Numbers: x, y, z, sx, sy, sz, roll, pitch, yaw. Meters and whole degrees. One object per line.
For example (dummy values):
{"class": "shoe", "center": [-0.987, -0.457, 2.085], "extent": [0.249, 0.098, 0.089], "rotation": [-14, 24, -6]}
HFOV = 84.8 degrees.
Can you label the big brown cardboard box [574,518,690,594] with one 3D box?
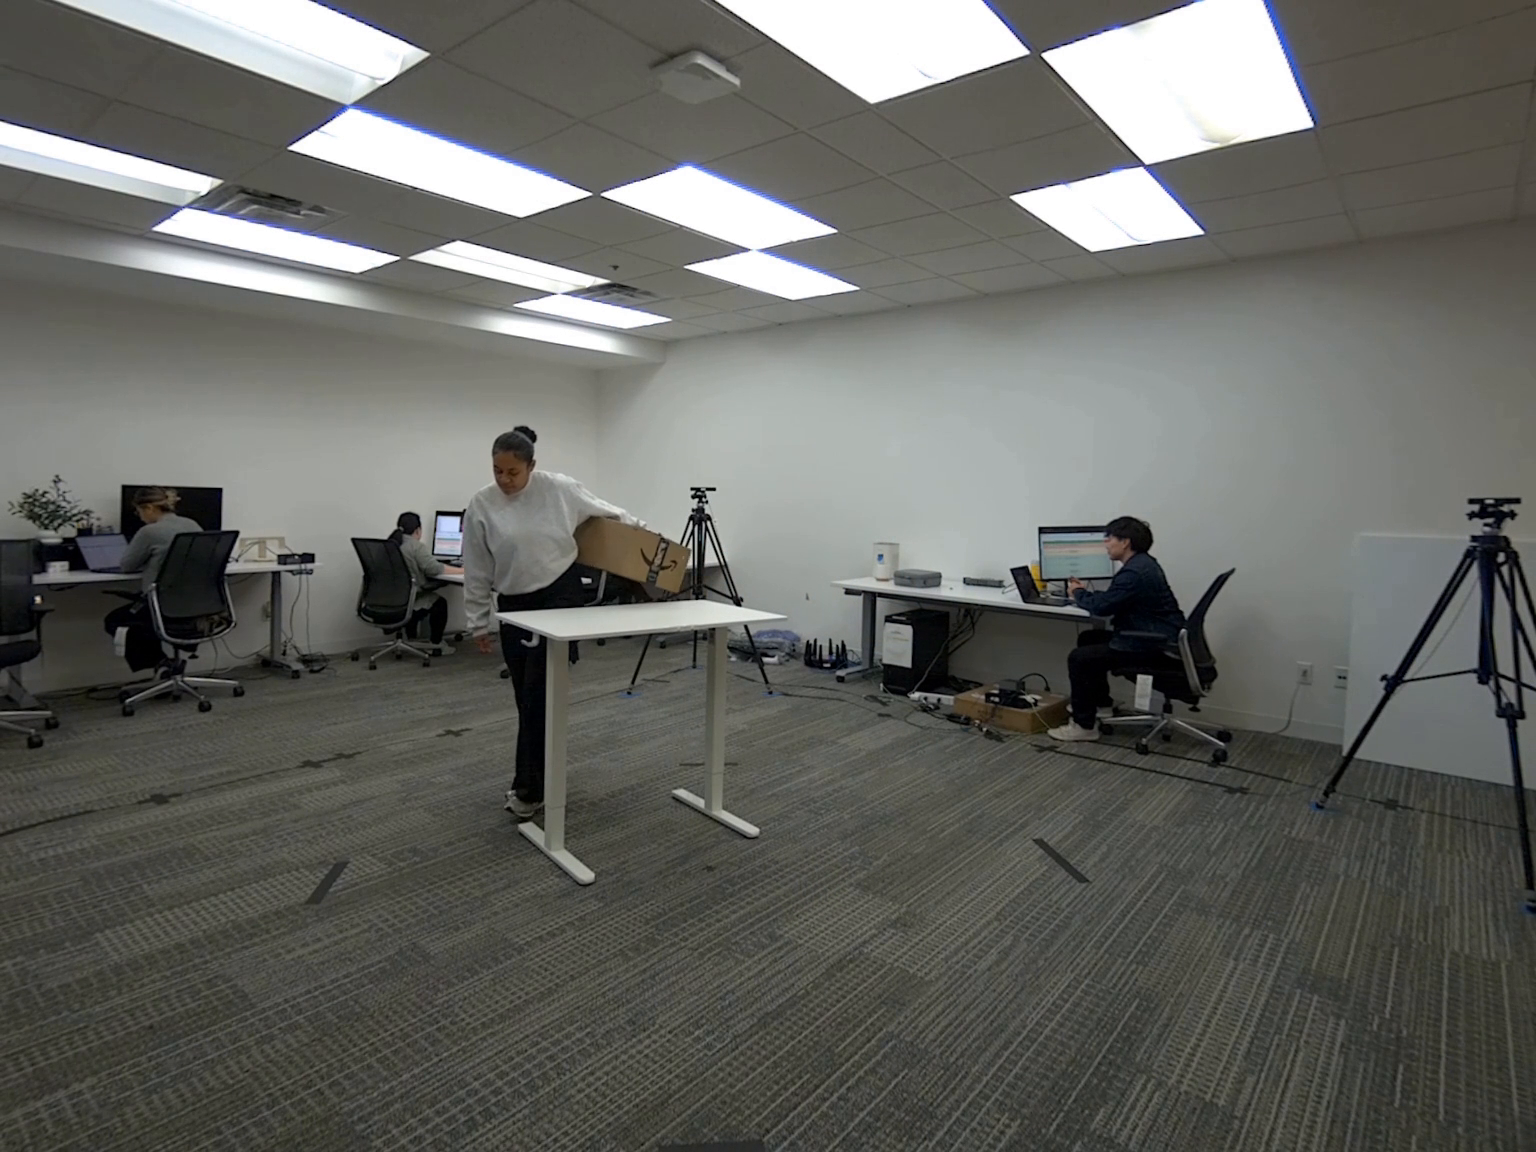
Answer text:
{"class": "big brown cardboard box", "center": [-0.717, -0.123, 3.892], "extent": [0.610, 0.234, 0.401], "rotation": [14, -5, 35]}
